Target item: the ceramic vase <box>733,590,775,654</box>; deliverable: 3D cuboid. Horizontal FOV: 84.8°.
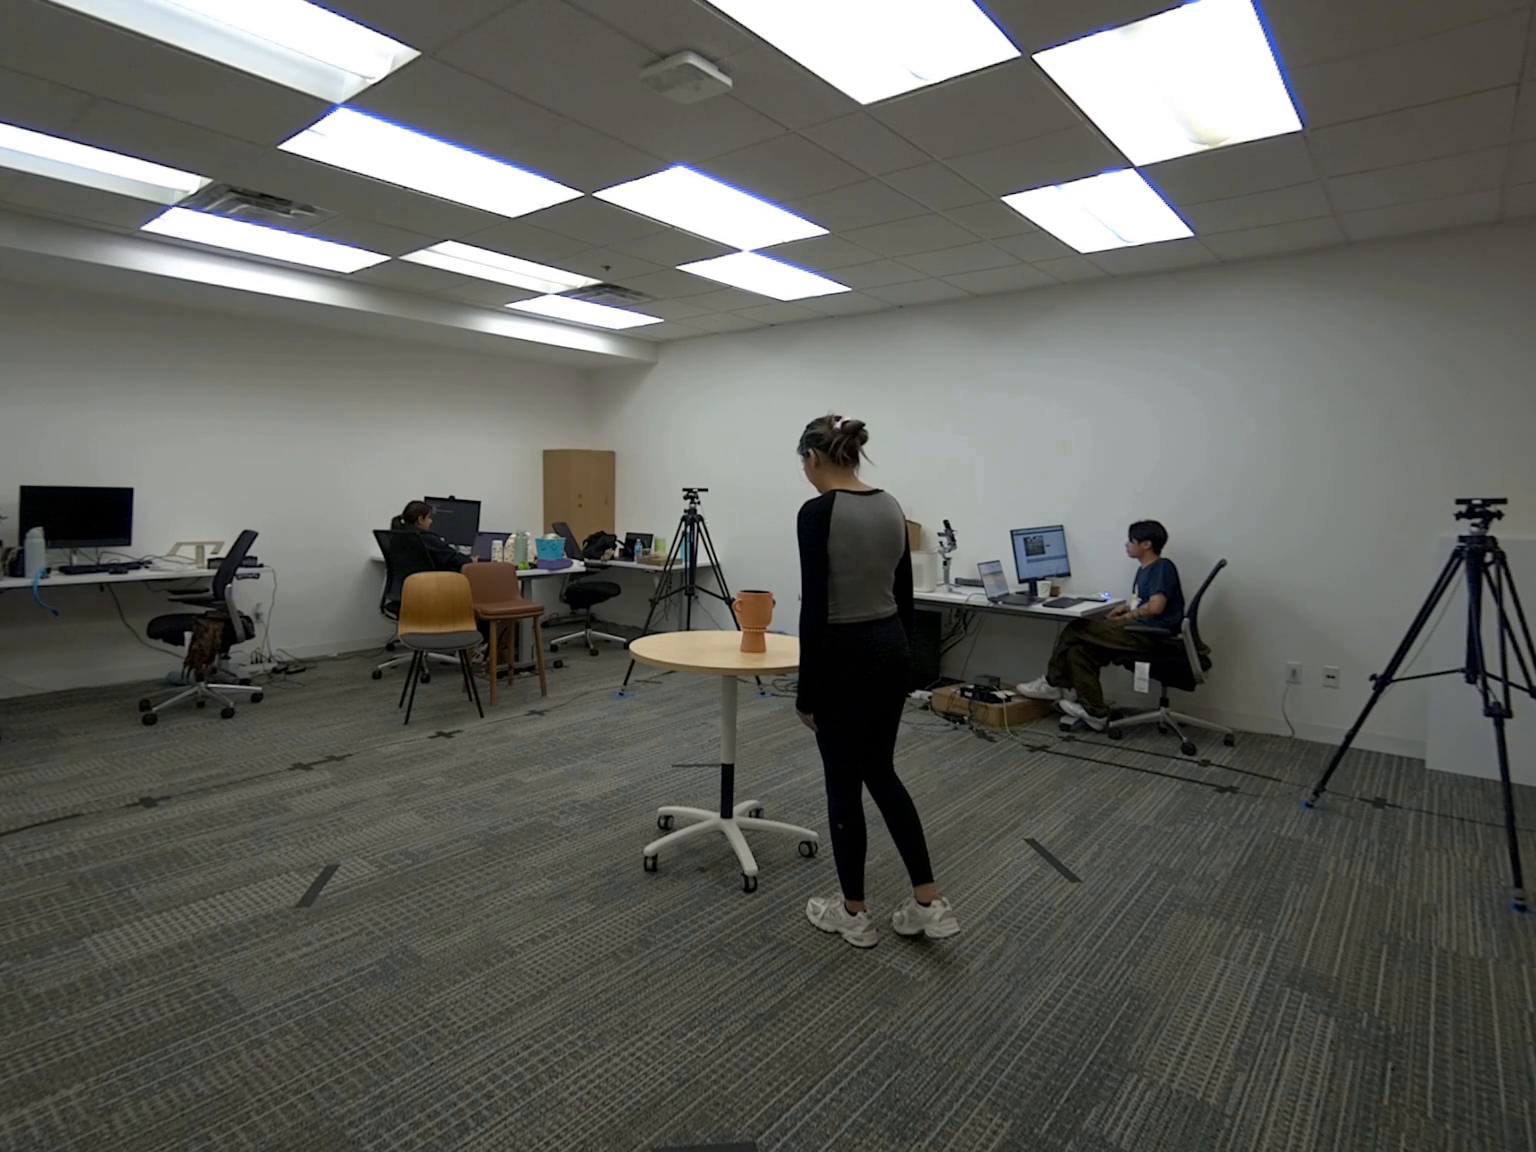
[{"bbox_3d":[-0.060,0.166,3.165,0.159,0.219,0.134,1,3,2],"label":"ceramic vase"}]
